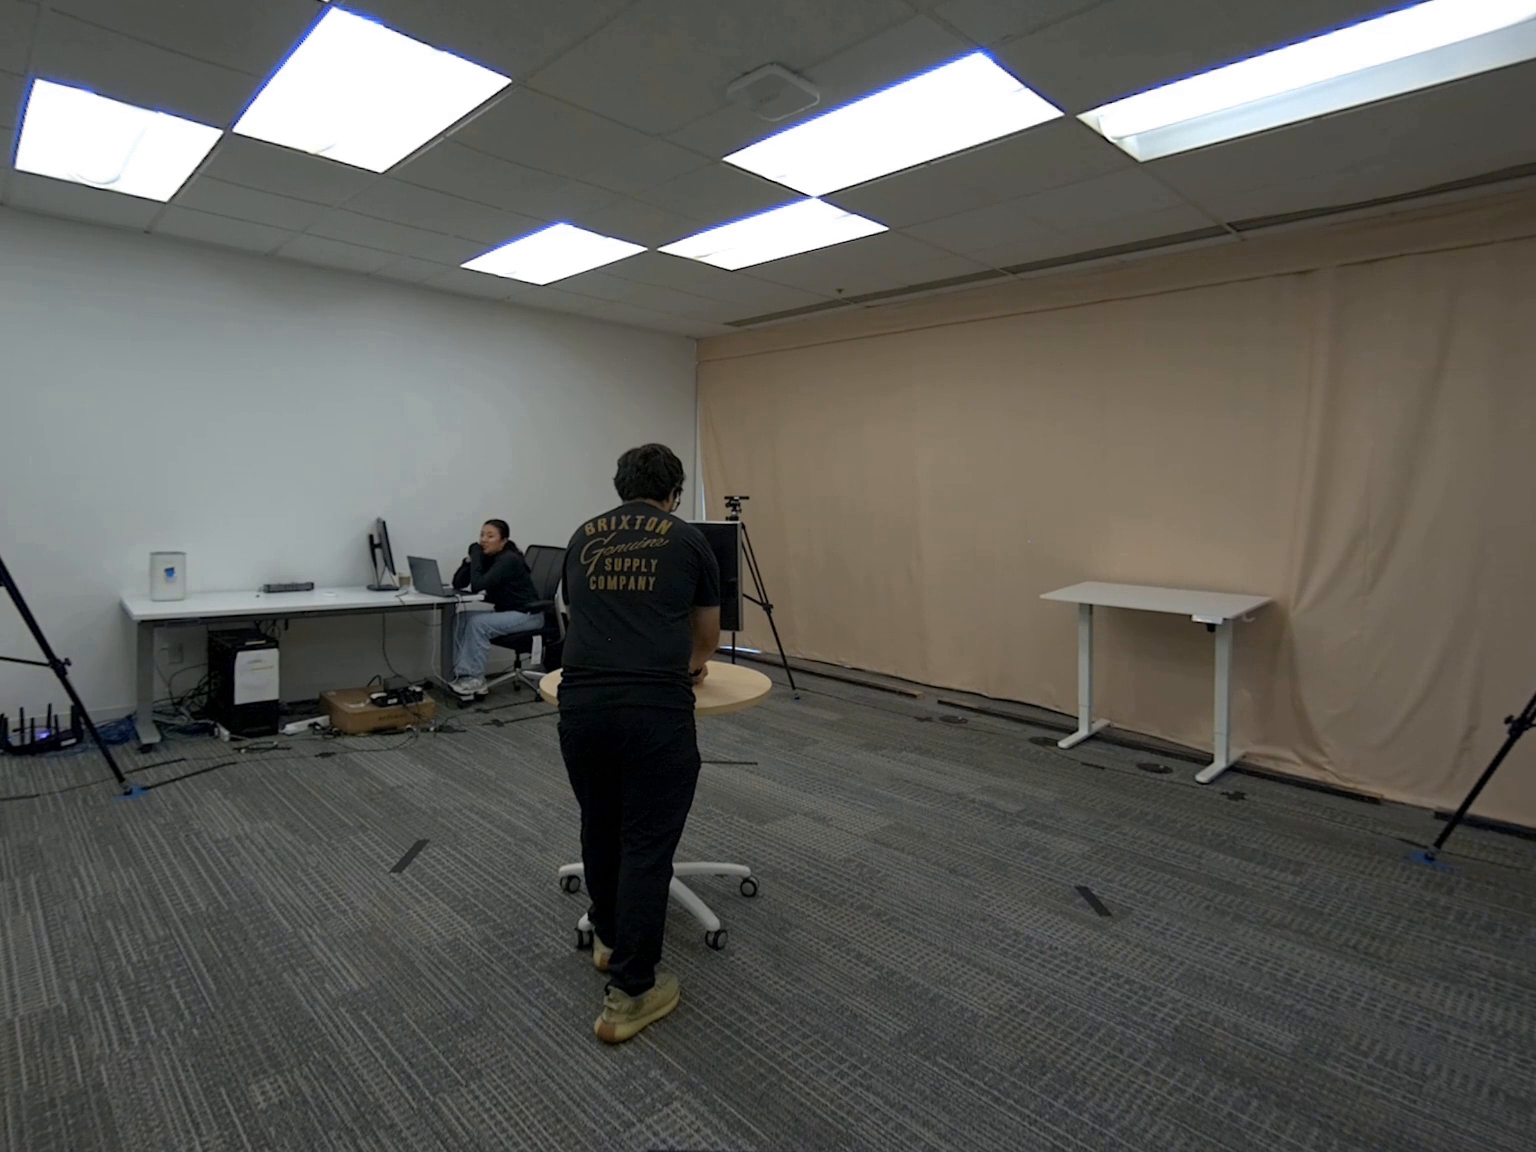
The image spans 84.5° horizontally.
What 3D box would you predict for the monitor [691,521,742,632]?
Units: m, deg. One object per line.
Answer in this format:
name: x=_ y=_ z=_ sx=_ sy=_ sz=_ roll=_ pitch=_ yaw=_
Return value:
monitor: x=-0.375 y=0.088 z=2.791 sx=0.576 sy=0.552 sz=0.207 roll=3 pitch=4 yaw=23
